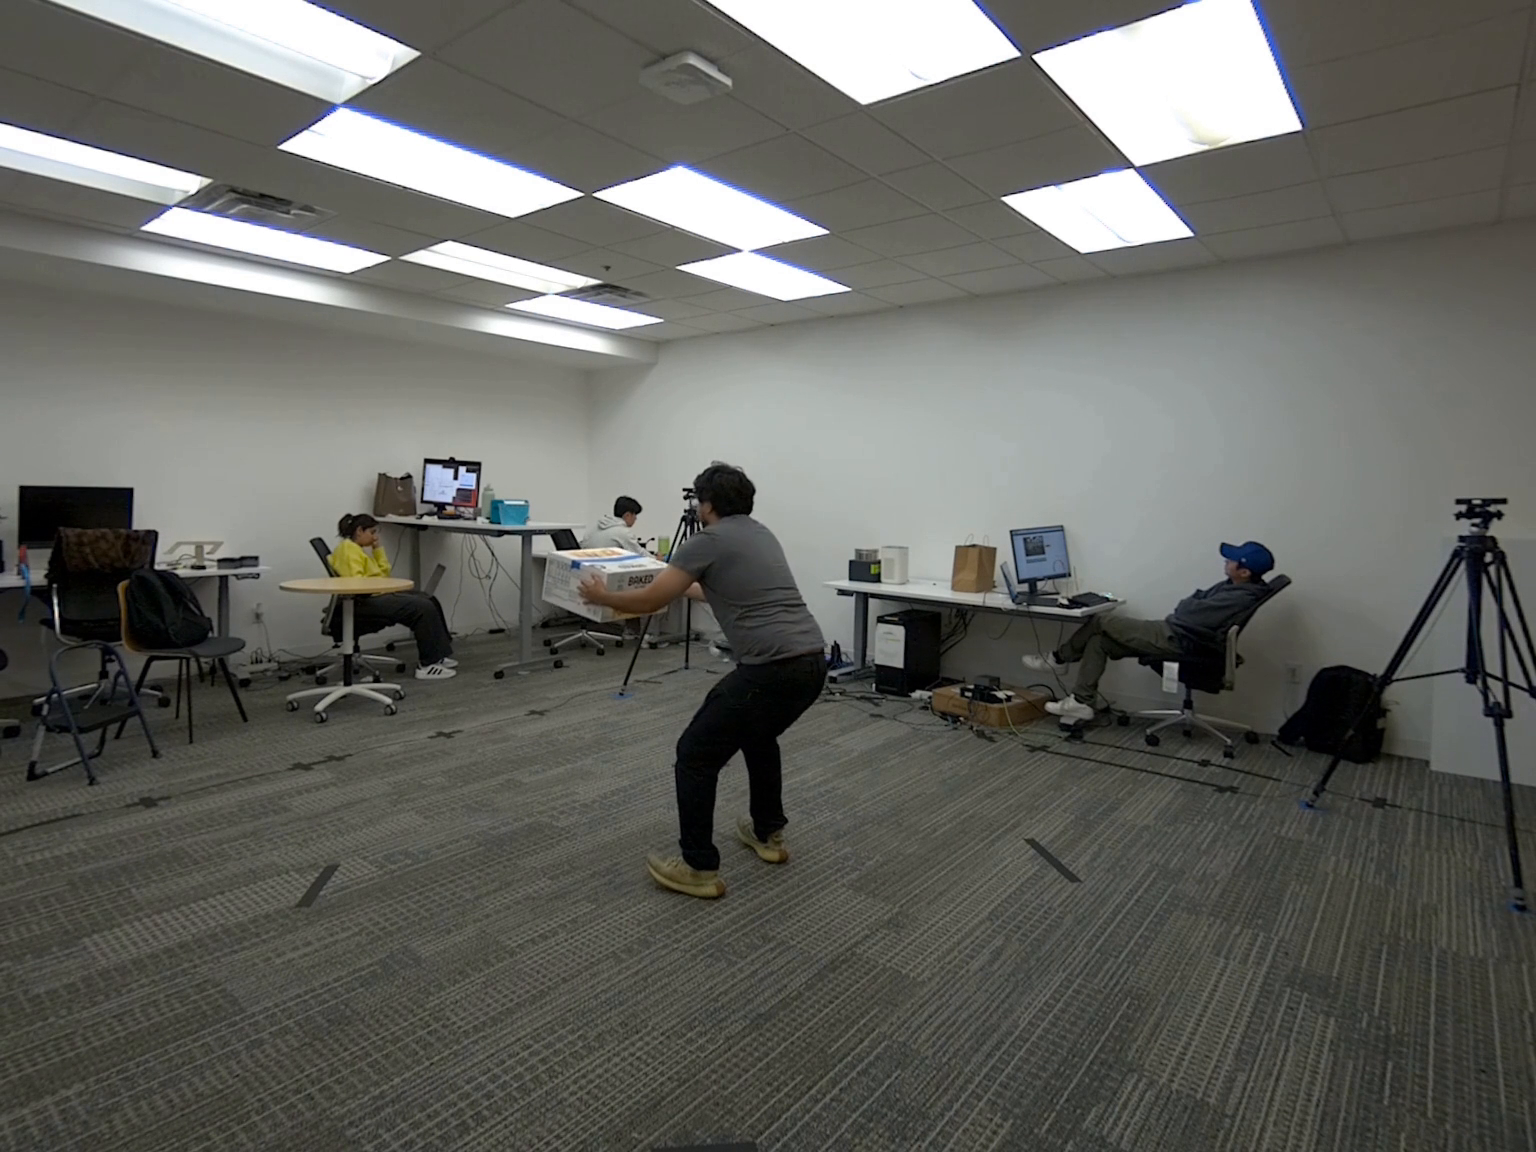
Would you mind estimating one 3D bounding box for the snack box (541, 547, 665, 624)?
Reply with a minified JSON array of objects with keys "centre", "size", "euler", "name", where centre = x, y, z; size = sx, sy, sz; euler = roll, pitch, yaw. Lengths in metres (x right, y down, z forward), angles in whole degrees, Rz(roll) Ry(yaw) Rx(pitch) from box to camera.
[{"centre":[-0.664,0.034,3.501],"size":[0.352,0.204,0.394],"euler":[15,12,33],"name":"snack box"}]
